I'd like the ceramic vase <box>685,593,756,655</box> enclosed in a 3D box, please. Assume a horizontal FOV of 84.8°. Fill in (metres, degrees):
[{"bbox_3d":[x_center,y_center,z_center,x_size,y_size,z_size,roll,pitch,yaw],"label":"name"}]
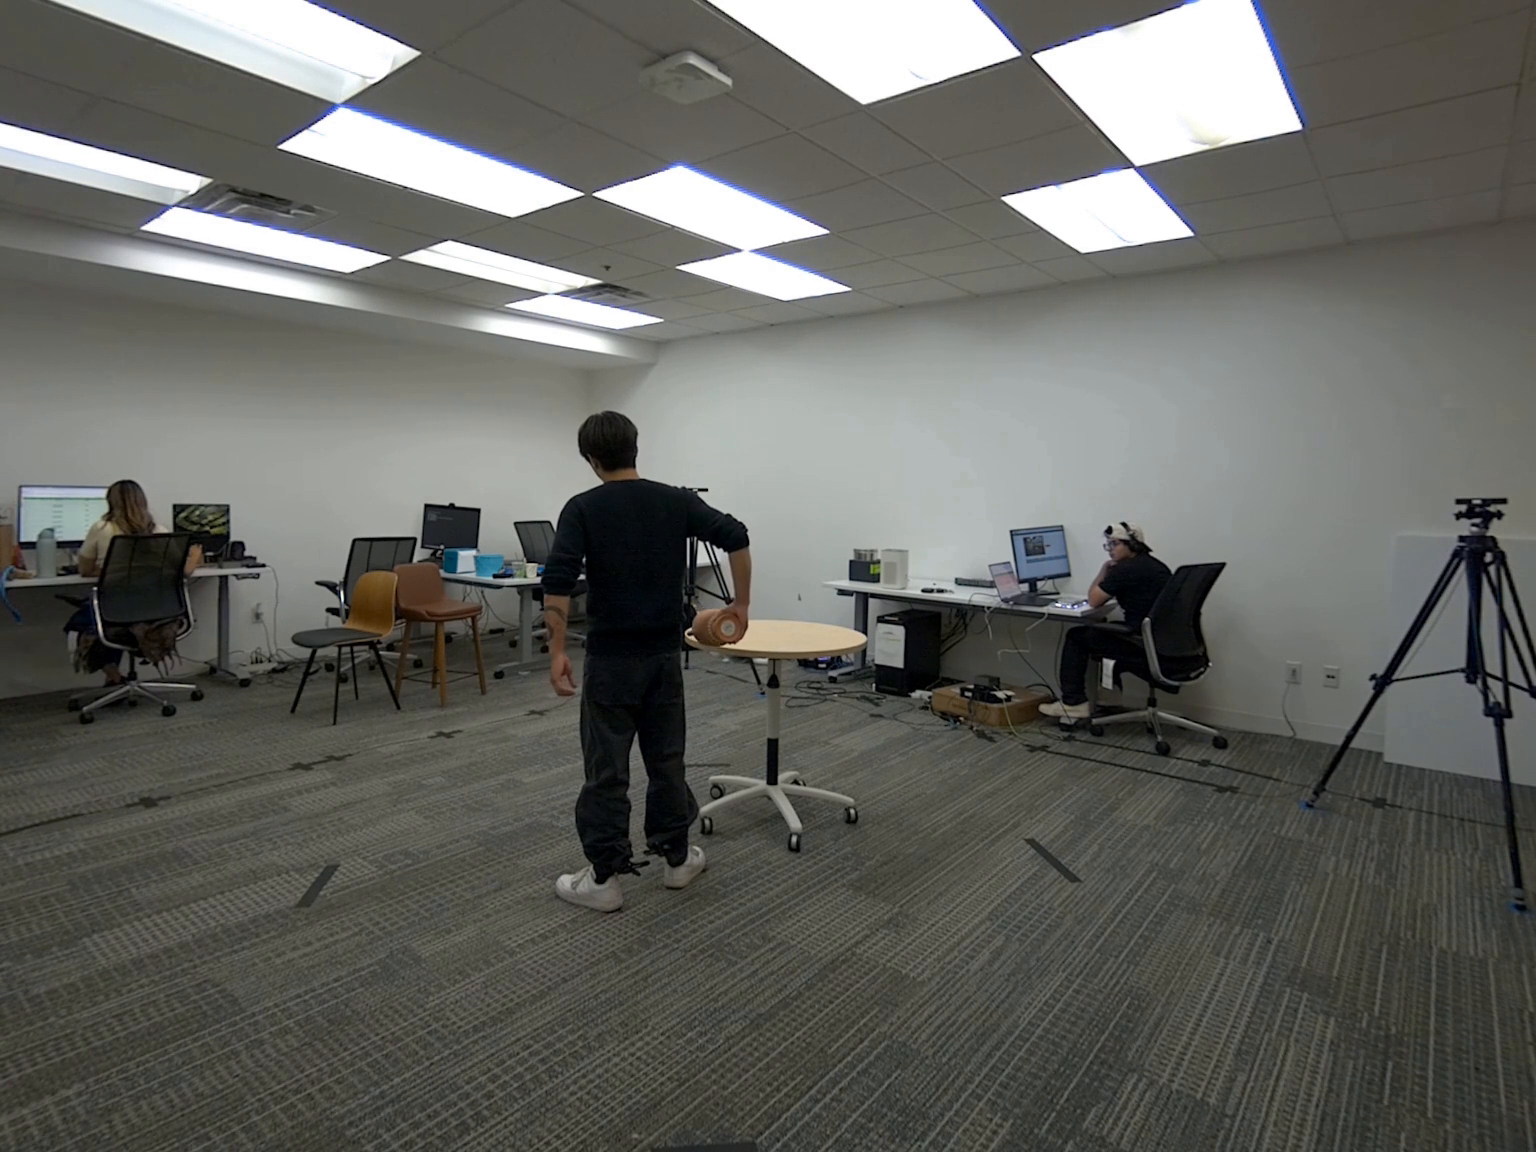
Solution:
[{"bbox_3d":[-0.182,0.172,3.024,0.132,0.159,0.223,40,-17,-14],"label":"ceramic vase"}]
